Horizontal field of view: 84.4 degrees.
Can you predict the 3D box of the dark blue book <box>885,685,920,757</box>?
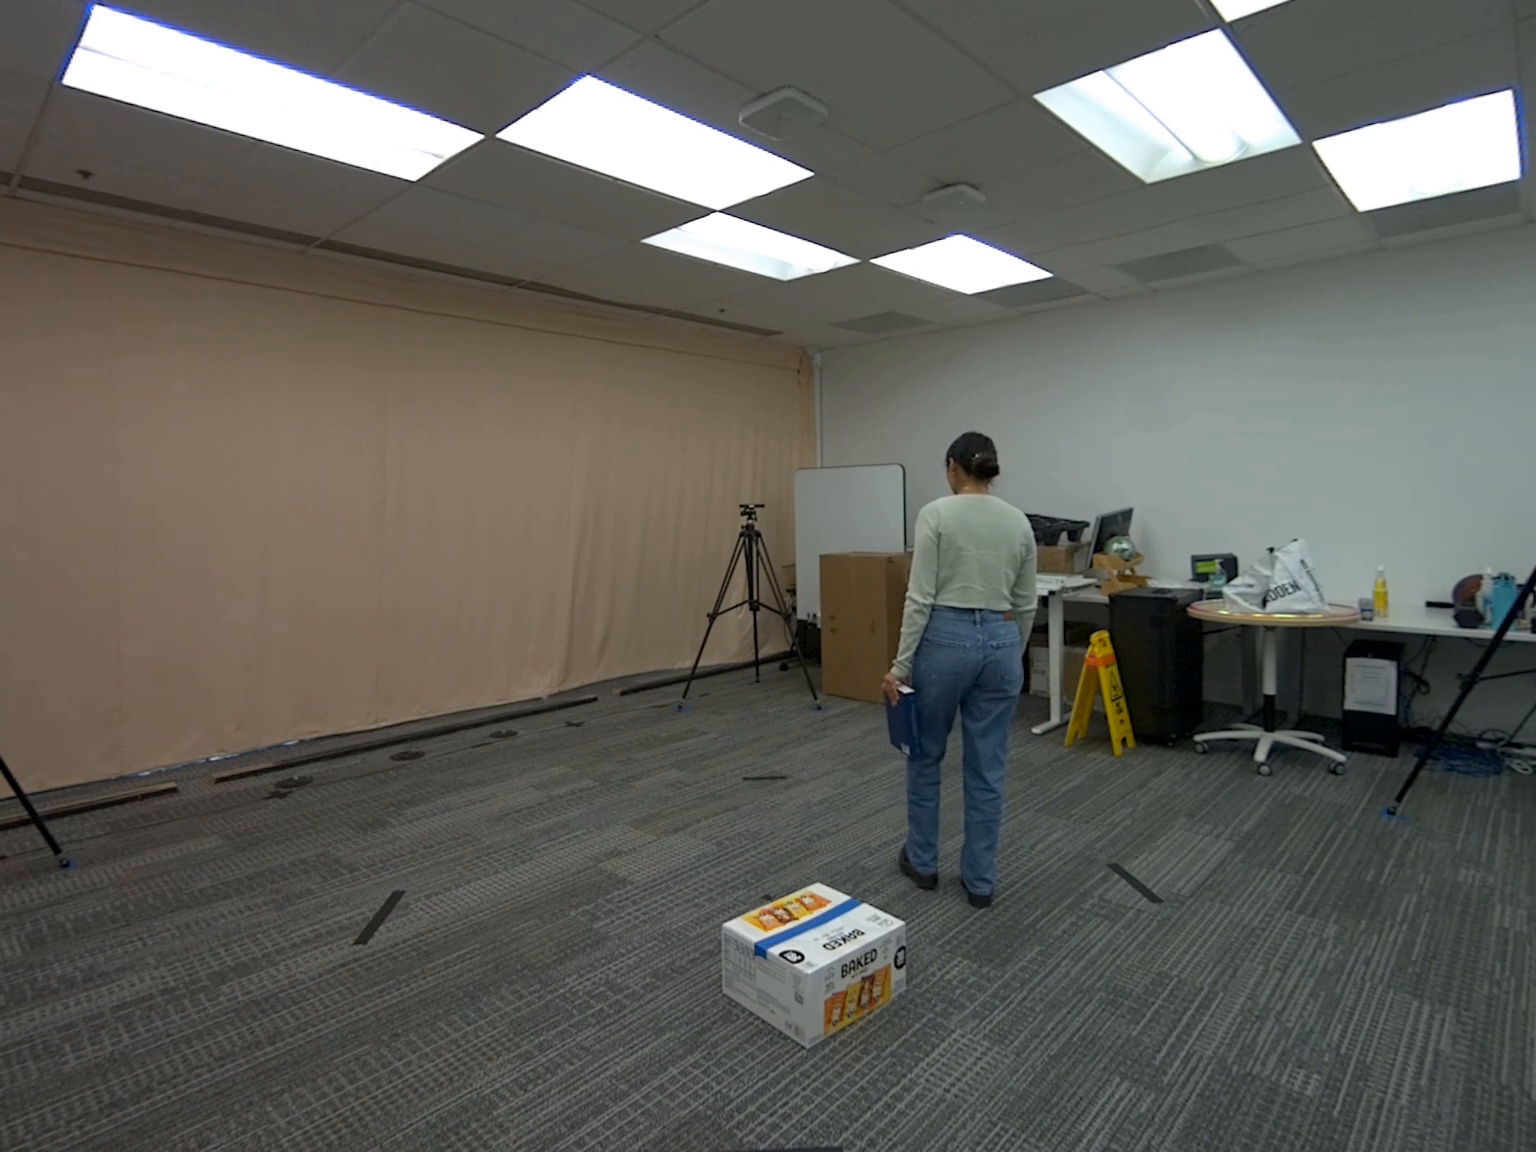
[{"bbox_3d":[0.485,0.507,2.967,0.044,0.243,0.167,-10,10,-19],"label":"dark blue book"}]
